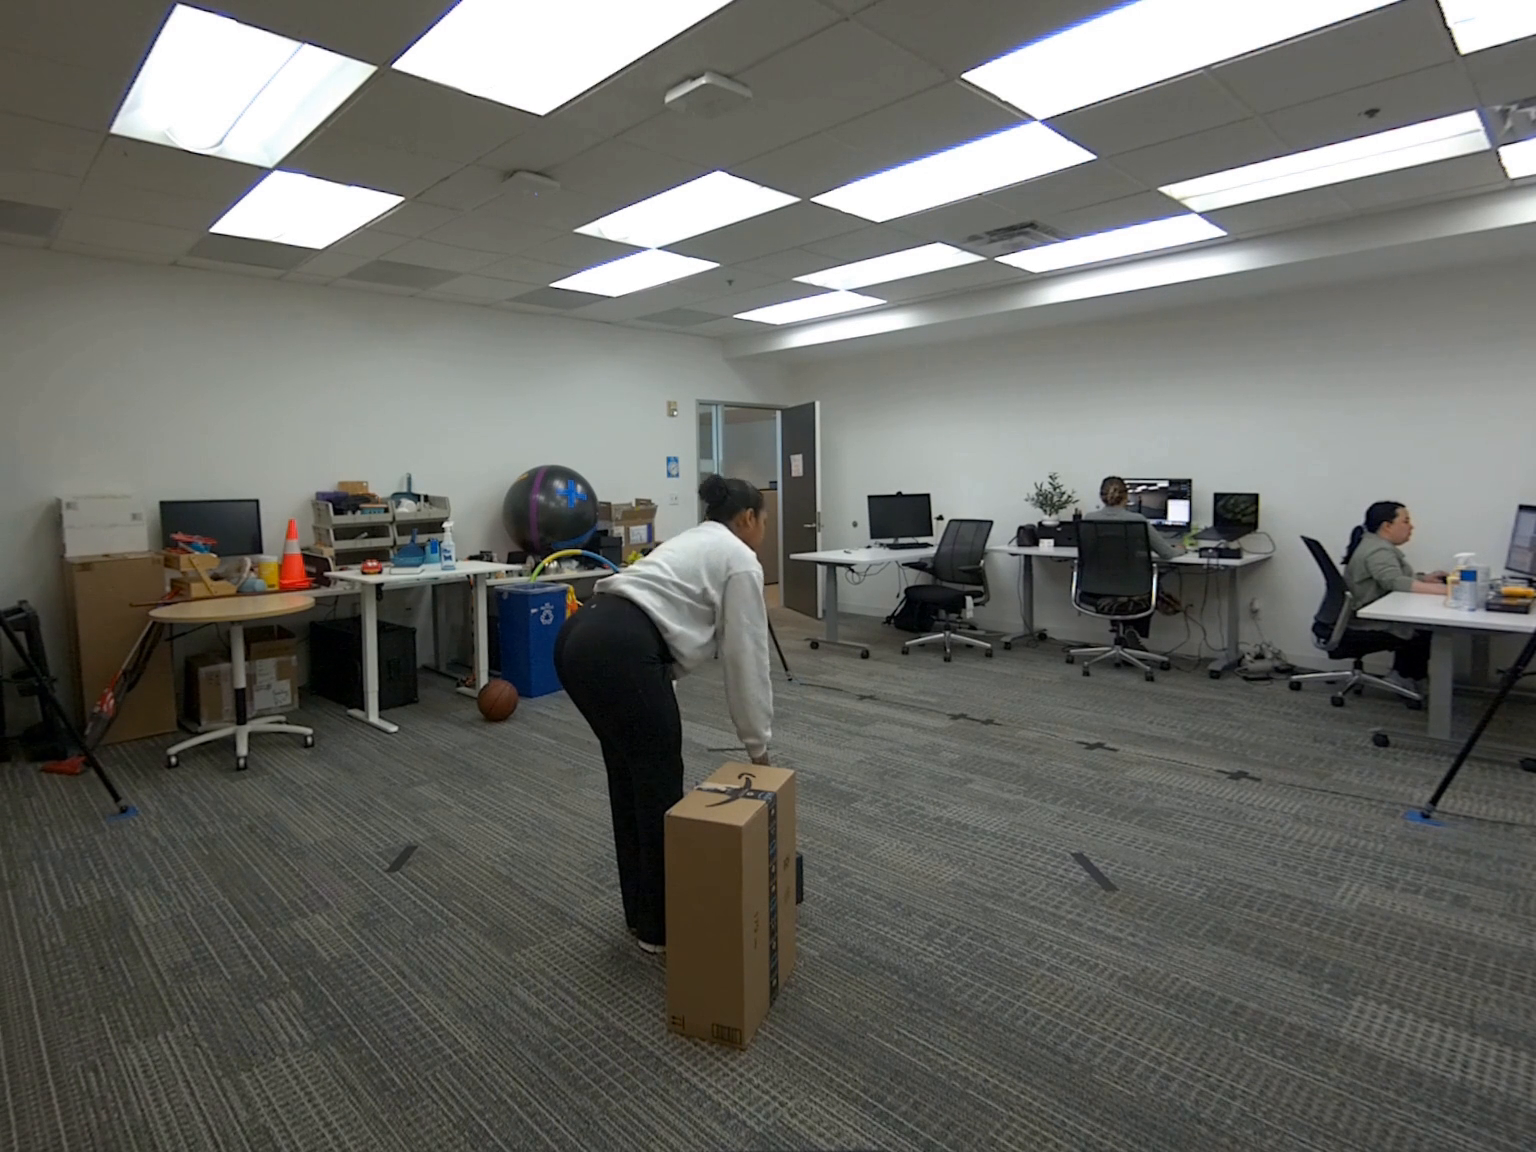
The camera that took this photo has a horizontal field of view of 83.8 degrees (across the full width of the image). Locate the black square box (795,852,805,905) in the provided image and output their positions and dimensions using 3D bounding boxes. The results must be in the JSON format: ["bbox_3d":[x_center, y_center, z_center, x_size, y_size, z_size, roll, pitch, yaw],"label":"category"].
[{"bbox_3d":[-0.028,0.996,2.834,0.222,0.155,0.224,-6,8,-39],"label":"black square box"}]
